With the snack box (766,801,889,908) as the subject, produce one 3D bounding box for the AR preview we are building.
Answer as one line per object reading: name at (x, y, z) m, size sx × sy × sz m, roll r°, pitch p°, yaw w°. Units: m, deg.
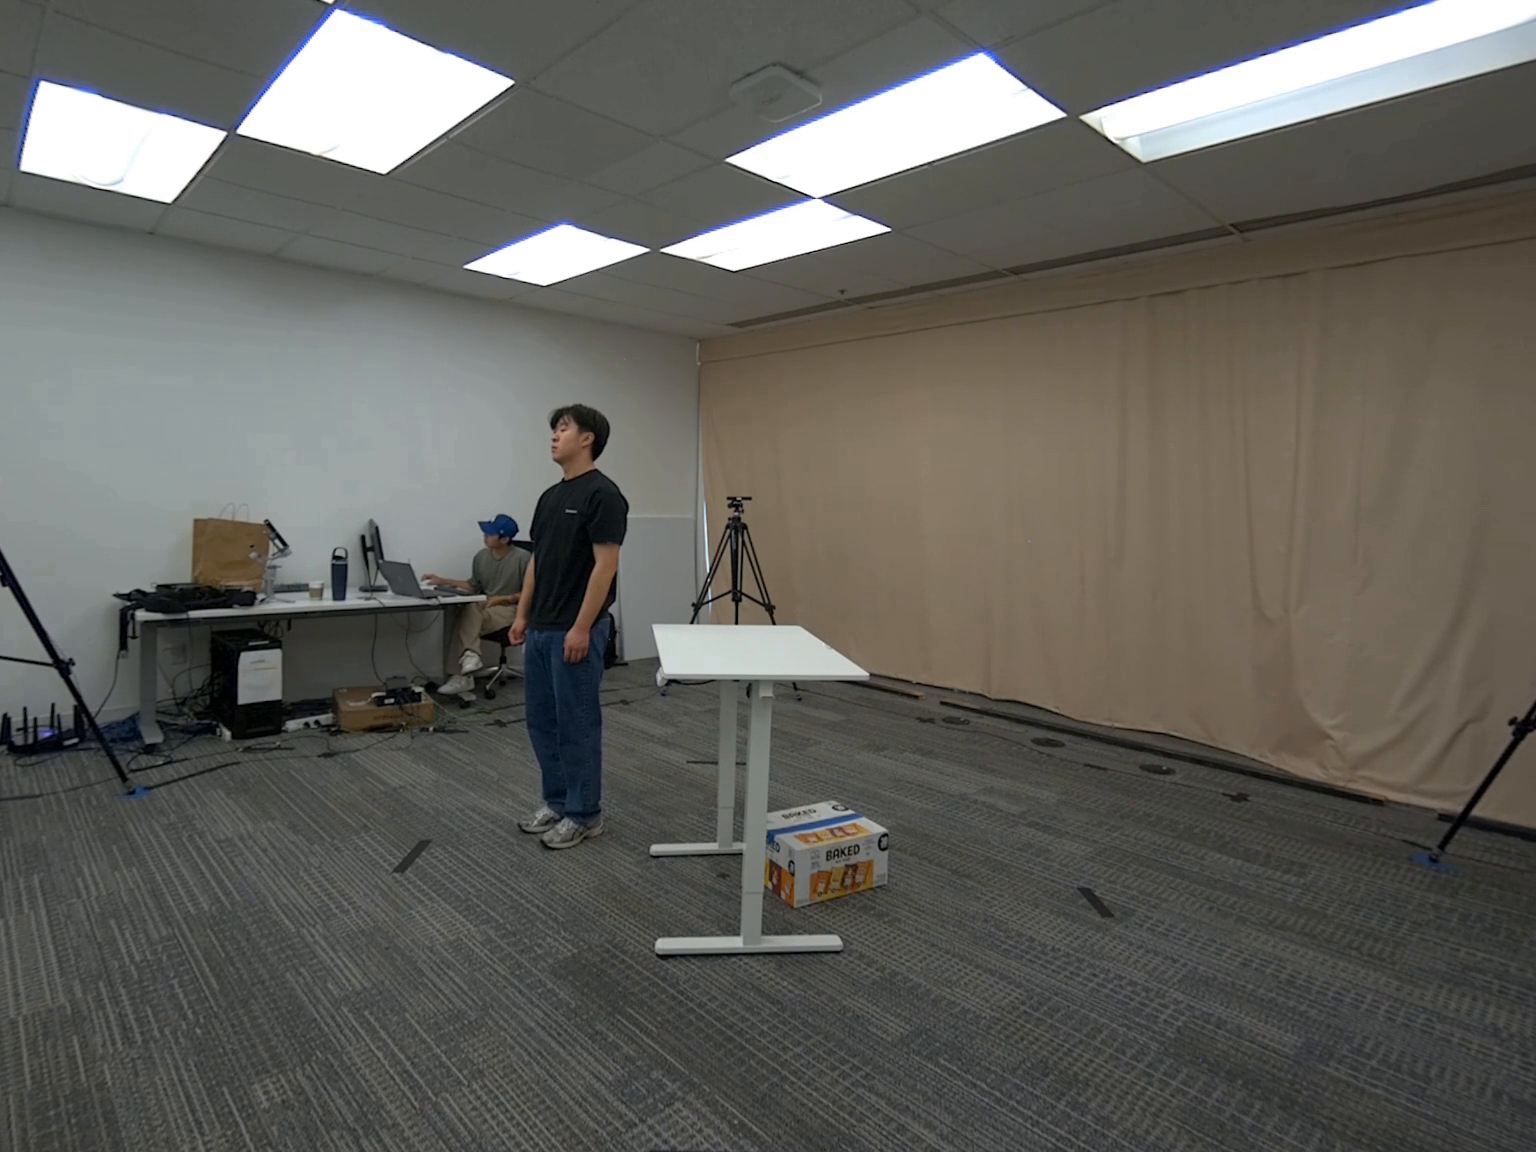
snack box at (0.174, 1.014, 3.096) m, size 0.397 × 0.205 × 0.348 m, roll -2°, pitch 5°, yaw -30°
